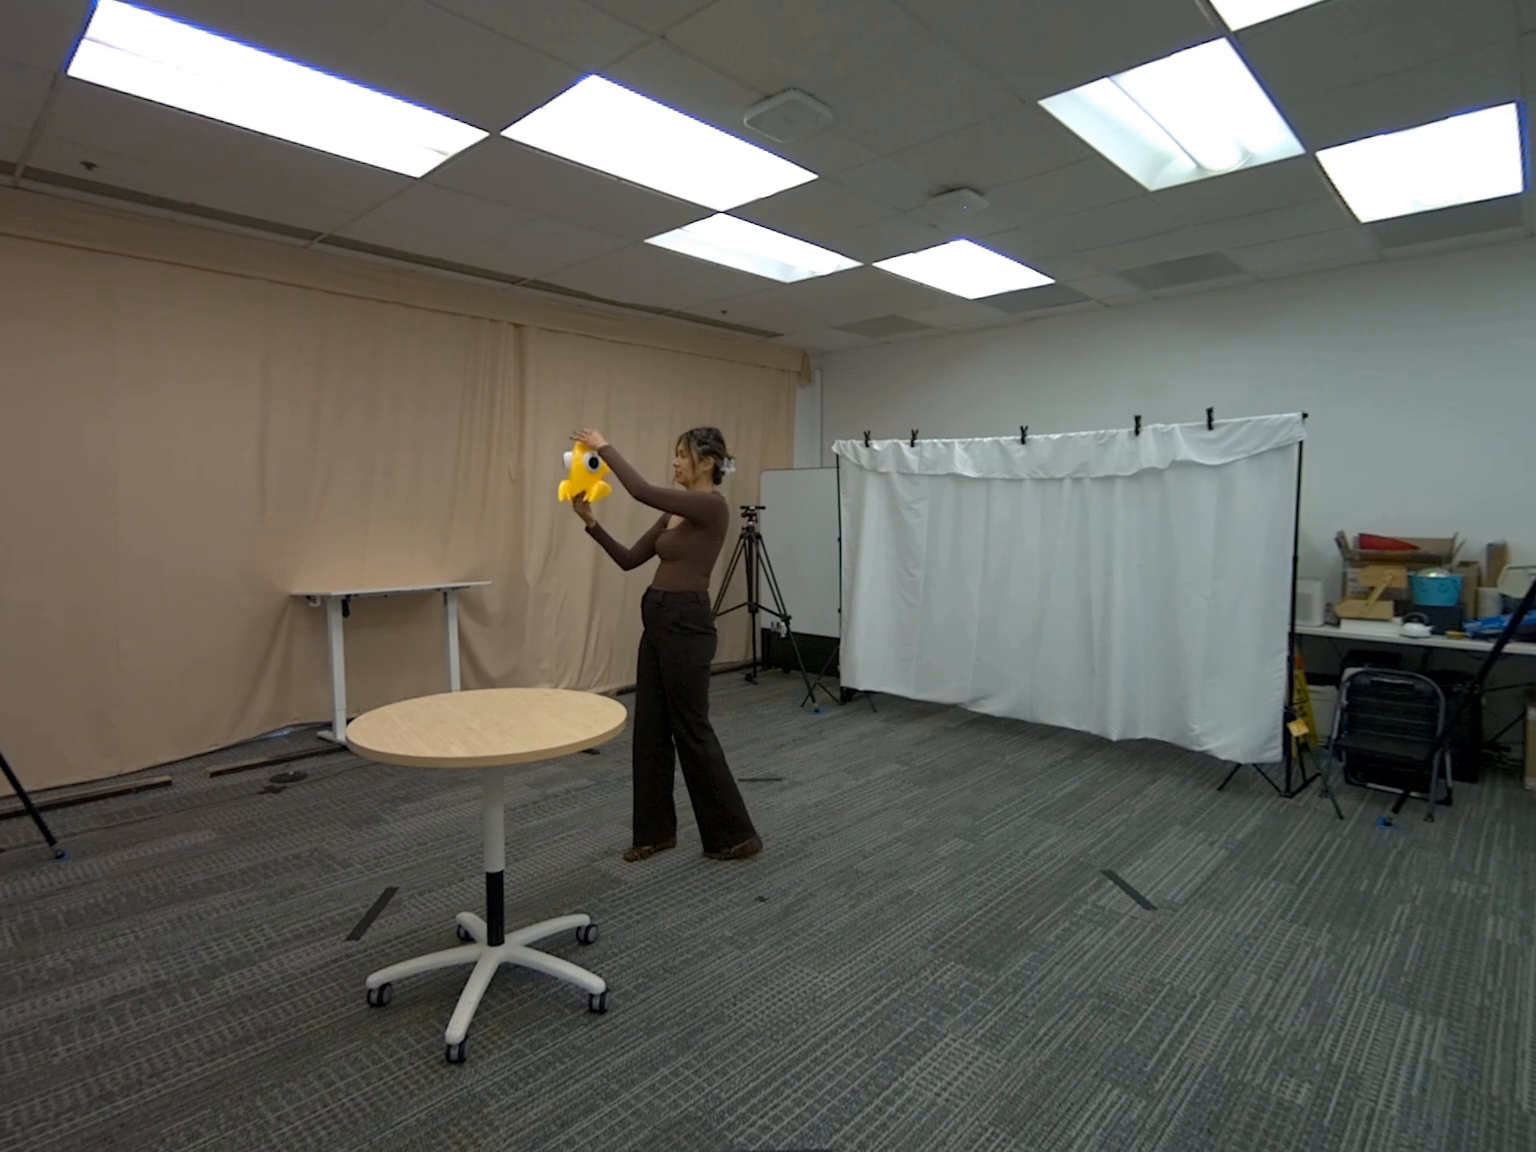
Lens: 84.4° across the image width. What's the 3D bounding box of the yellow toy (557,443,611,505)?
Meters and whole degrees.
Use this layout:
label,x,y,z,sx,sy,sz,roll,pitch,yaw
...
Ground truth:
label,x,y,z,sx,sy,sz,roll,pitch,yaw
yellow toy,-0.719,-0.424,3.240,0.209,0.227,0.192,2,25,20
